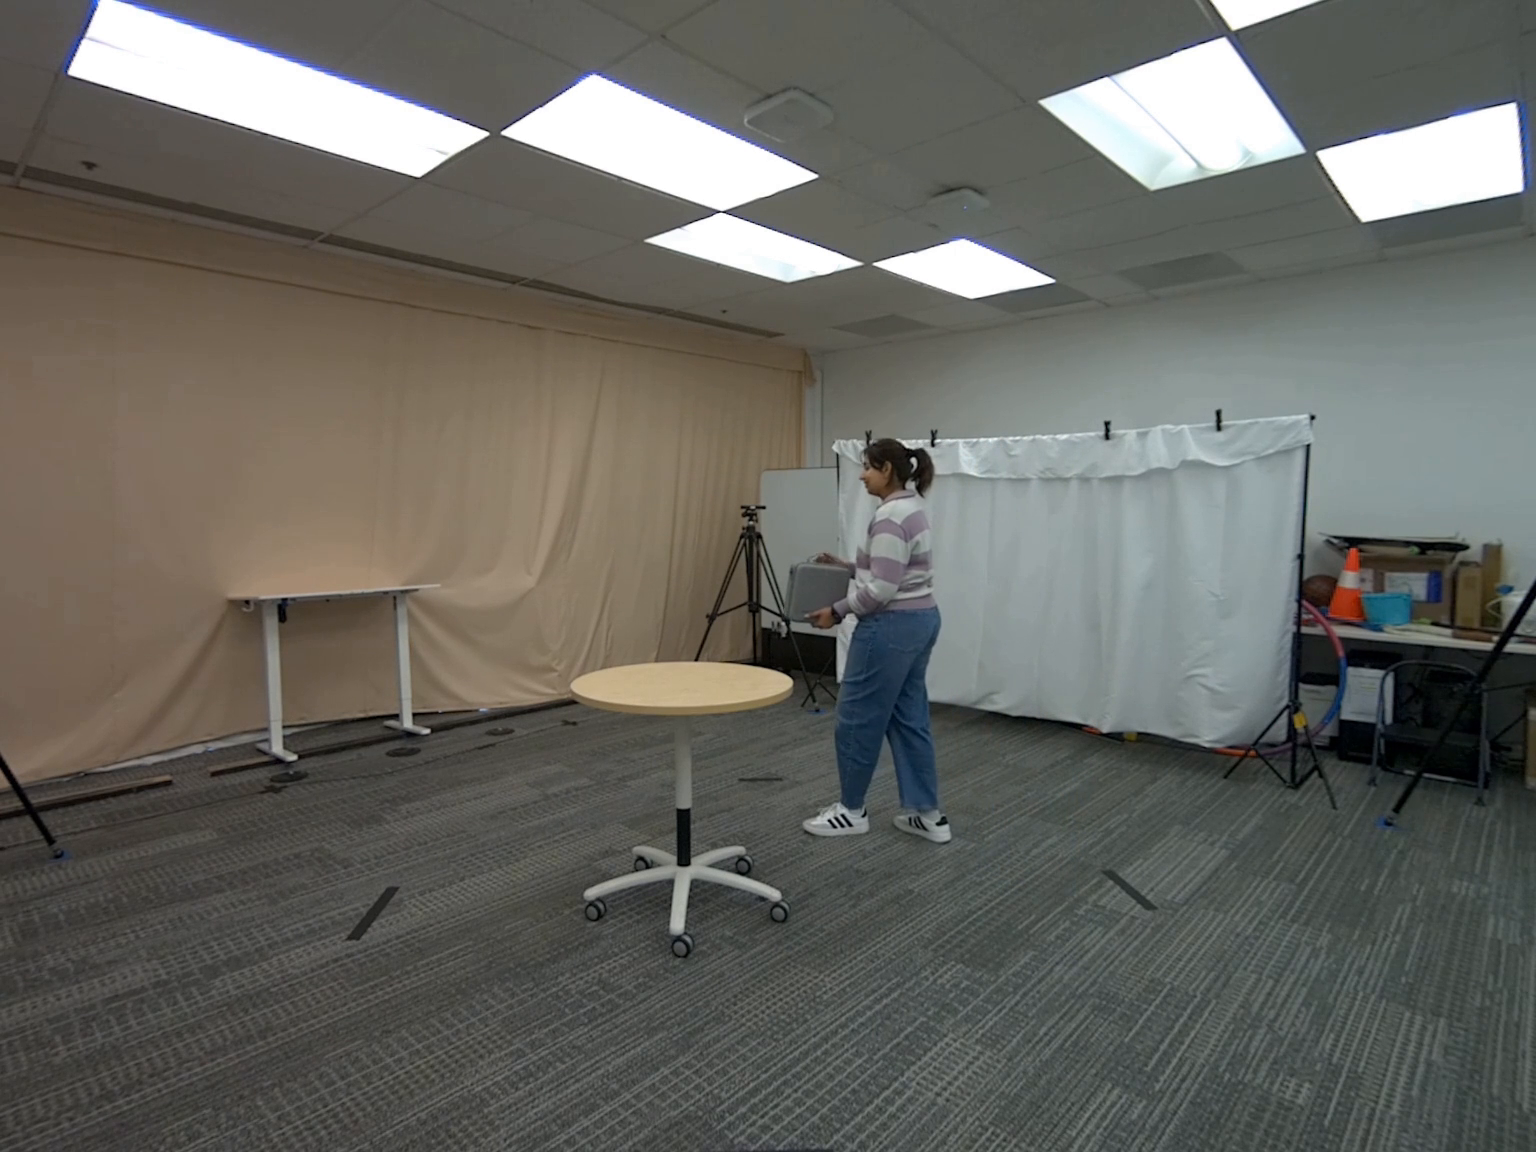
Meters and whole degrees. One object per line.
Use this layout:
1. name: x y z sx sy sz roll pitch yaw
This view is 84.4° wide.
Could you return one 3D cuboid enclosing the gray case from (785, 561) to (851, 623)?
1. gray case: 0.209 0.066 3.573 0.252 0.259 0.106 5 9 -16
